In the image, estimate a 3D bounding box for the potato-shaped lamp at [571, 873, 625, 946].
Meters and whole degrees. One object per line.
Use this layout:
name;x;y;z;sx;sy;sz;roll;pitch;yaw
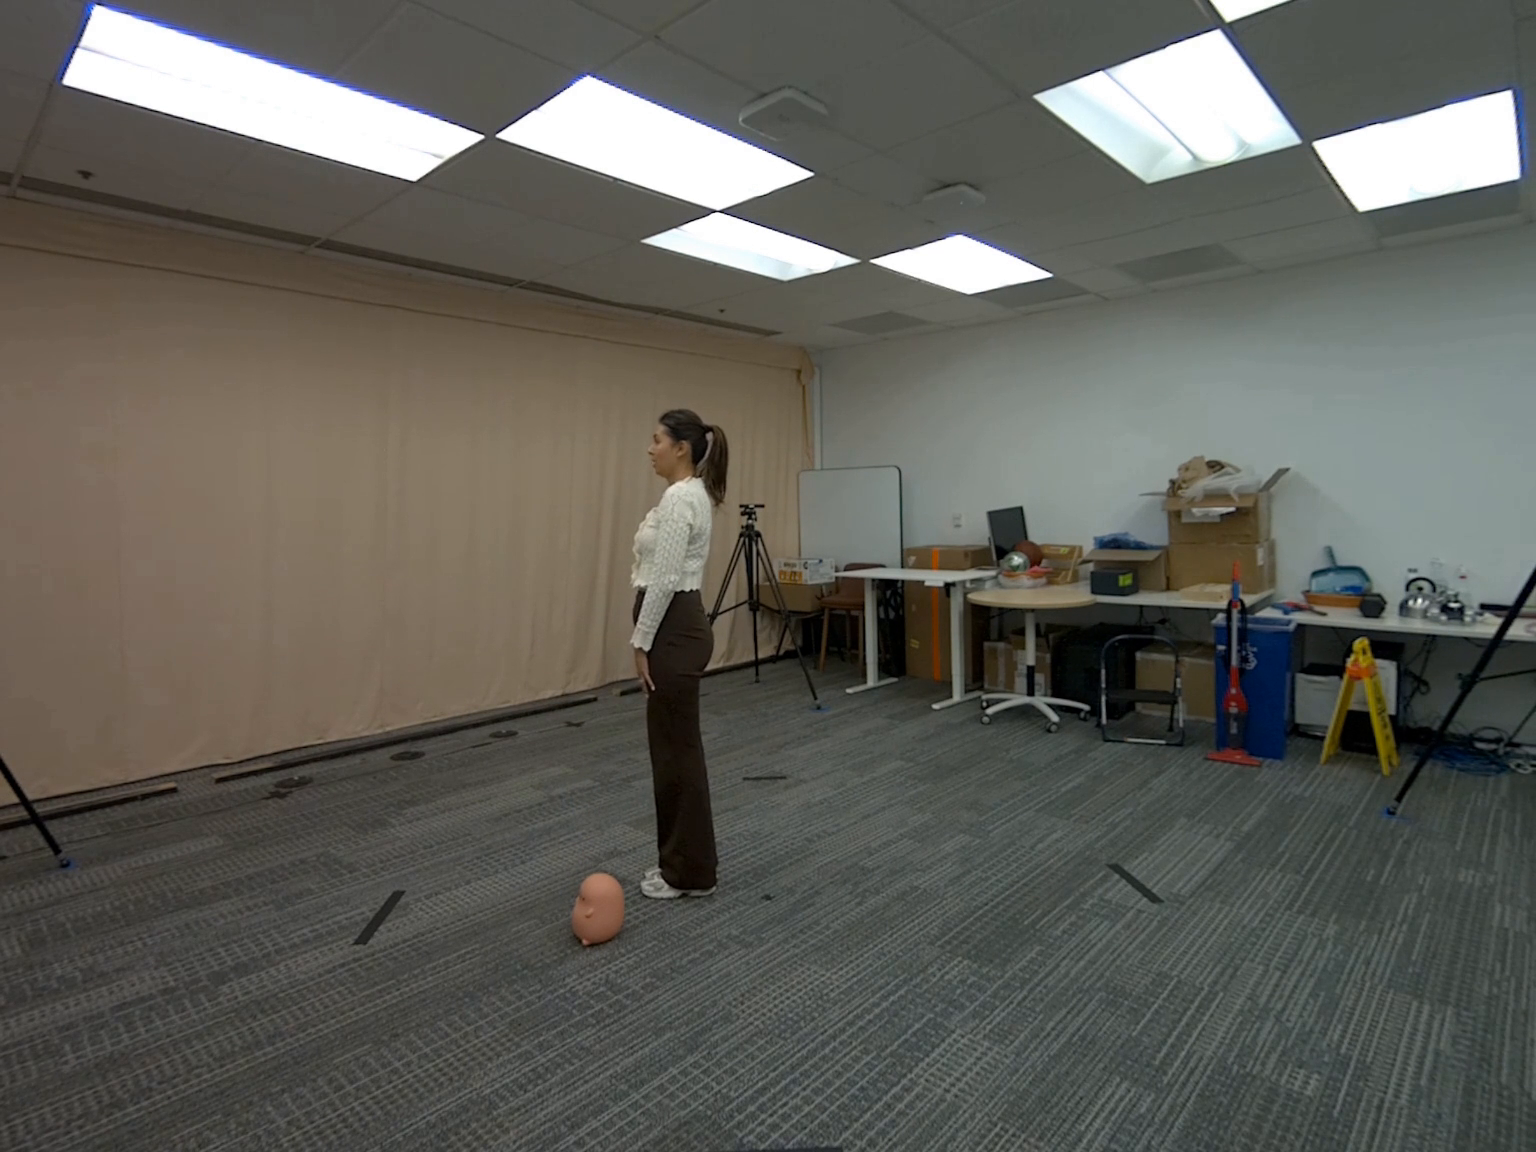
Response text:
potato-shaped lamp;-0.553;1.067;2.740;0.167;0.198;0.169;0;2;-28
